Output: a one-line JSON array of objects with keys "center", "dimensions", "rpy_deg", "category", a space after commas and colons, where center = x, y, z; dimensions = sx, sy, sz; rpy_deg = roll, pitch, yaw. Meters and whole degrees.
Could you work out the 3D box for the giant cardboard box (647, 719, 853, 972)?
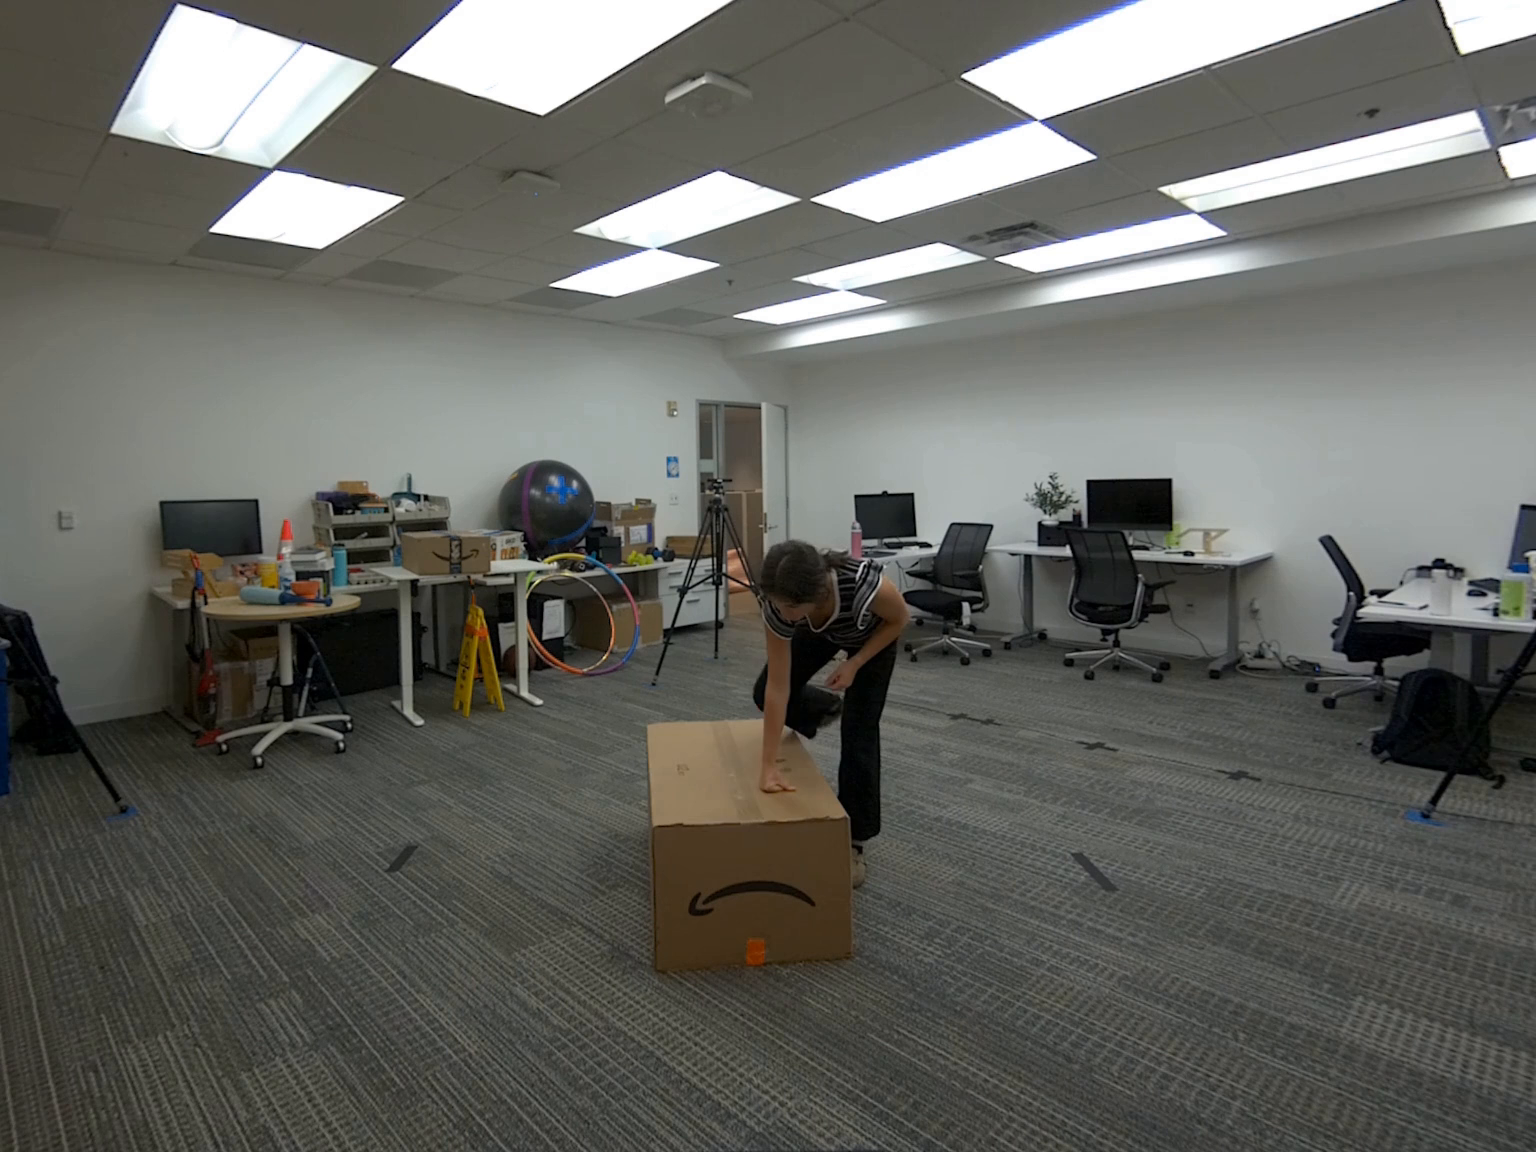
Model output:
[{"center": [-0.122, 0.855, 2.948], "dimensions": [0.574, 0.424, 1.038], "rpy_deg": [-1, 6, -8], "category": "giant cardboard box"}]
